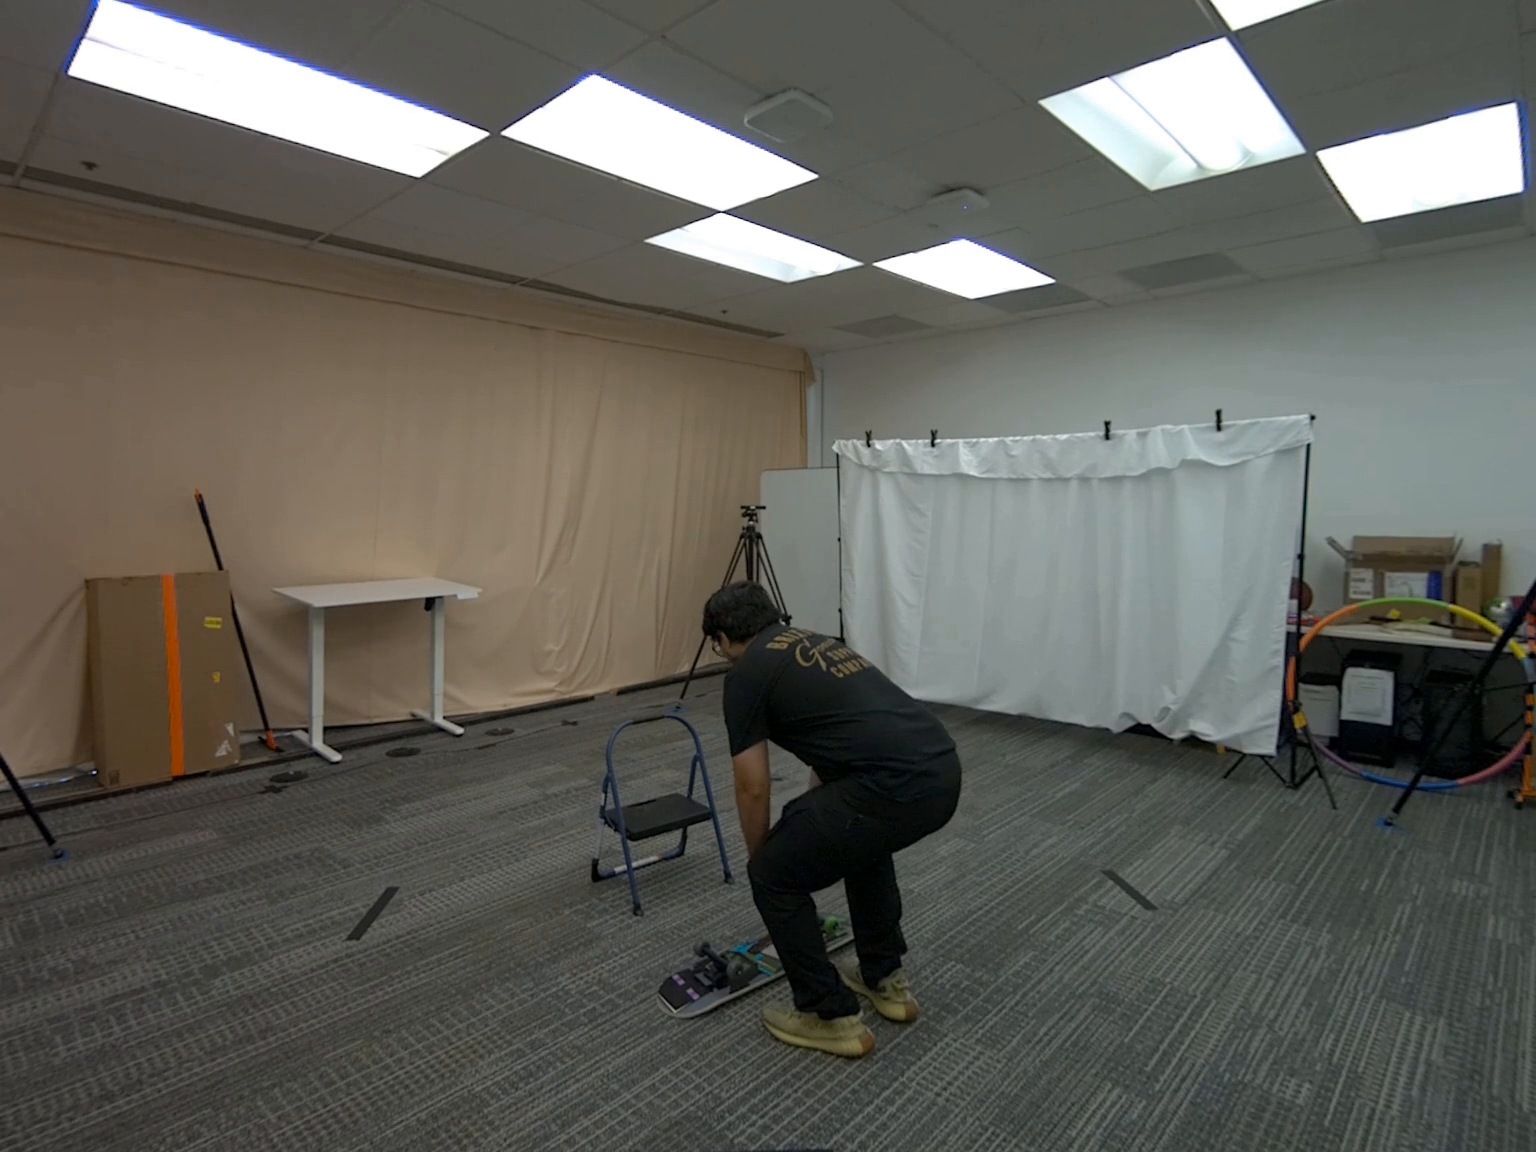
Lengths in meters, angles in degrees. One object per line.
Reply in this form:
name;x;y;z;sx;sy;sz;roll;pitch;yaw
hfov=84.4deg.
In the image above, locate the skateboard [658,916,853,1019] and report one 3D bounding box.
skateboard;0.003;1.133;2.559;0.762;0.110;0.200;-4;7;-41
